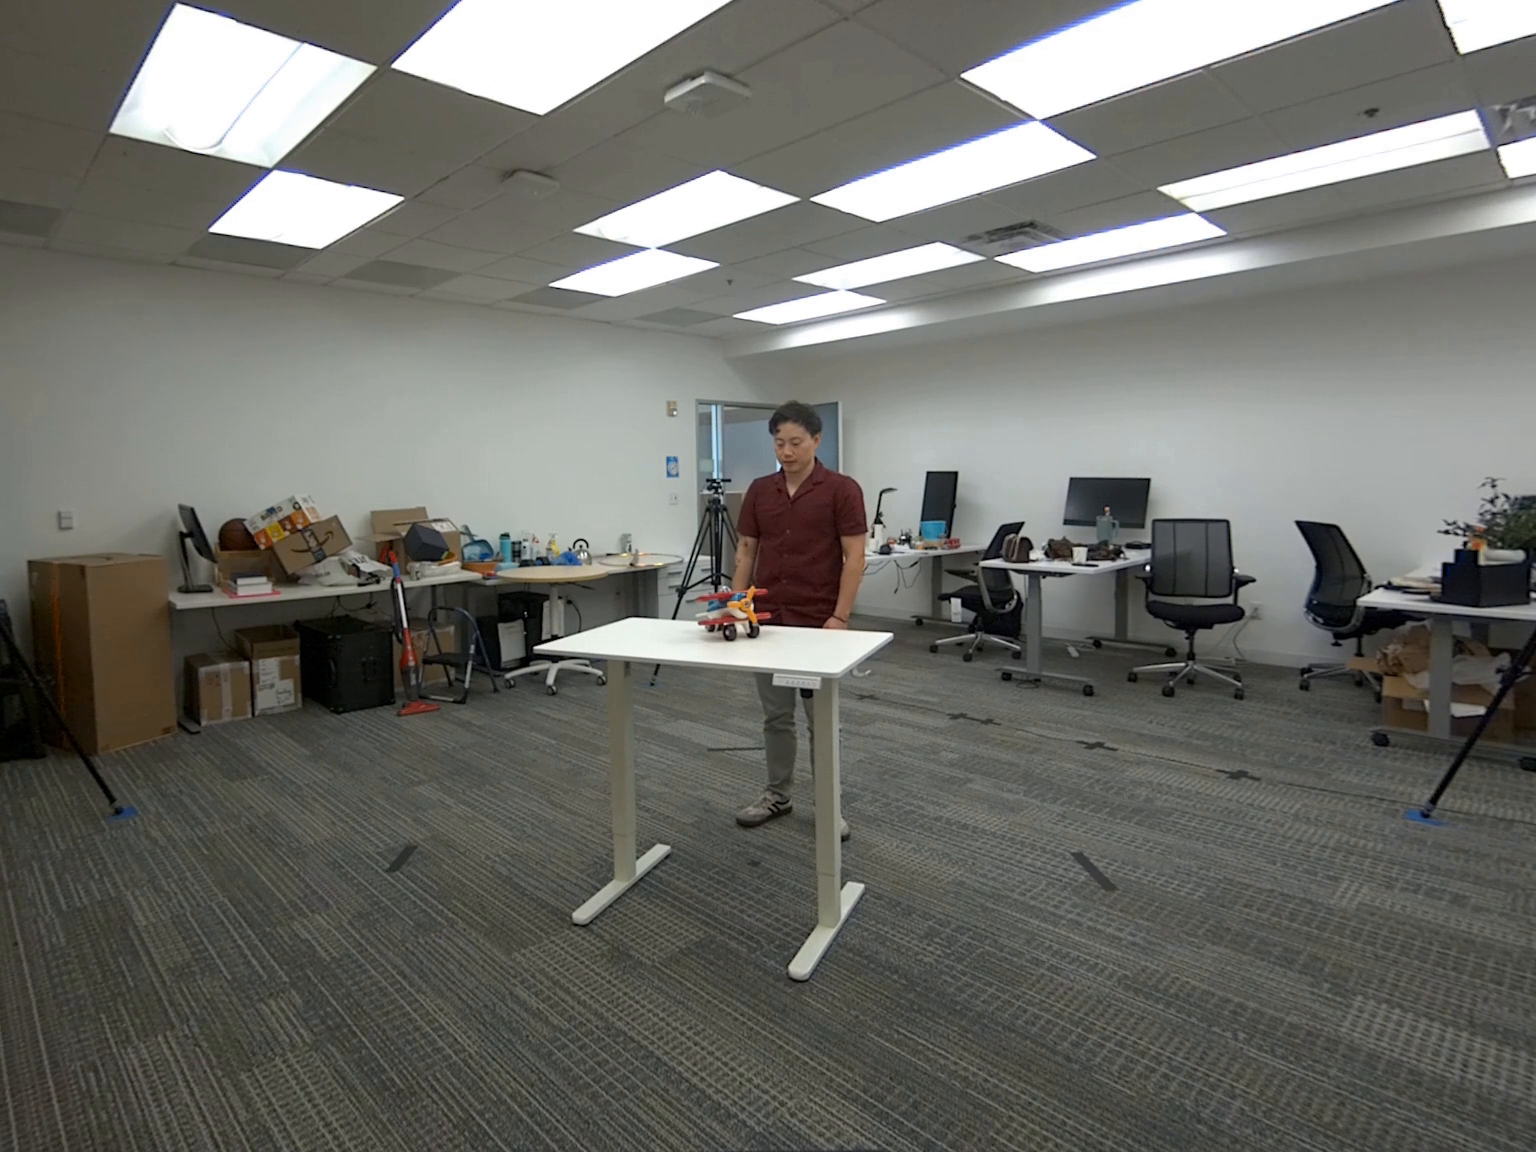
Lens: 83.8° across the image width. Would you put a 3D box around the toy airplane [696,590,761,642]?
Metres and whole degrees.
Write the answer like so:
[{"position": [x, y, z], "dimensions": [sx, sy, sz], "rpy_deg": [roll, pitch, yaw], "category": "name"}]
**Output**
[{"position": [-0.143, 0.120, 2.807], "dimensions": [0.266, 0.156, 0.245], "rpy_deg": [3, 7, 32], "category": "toy airplane"}]
